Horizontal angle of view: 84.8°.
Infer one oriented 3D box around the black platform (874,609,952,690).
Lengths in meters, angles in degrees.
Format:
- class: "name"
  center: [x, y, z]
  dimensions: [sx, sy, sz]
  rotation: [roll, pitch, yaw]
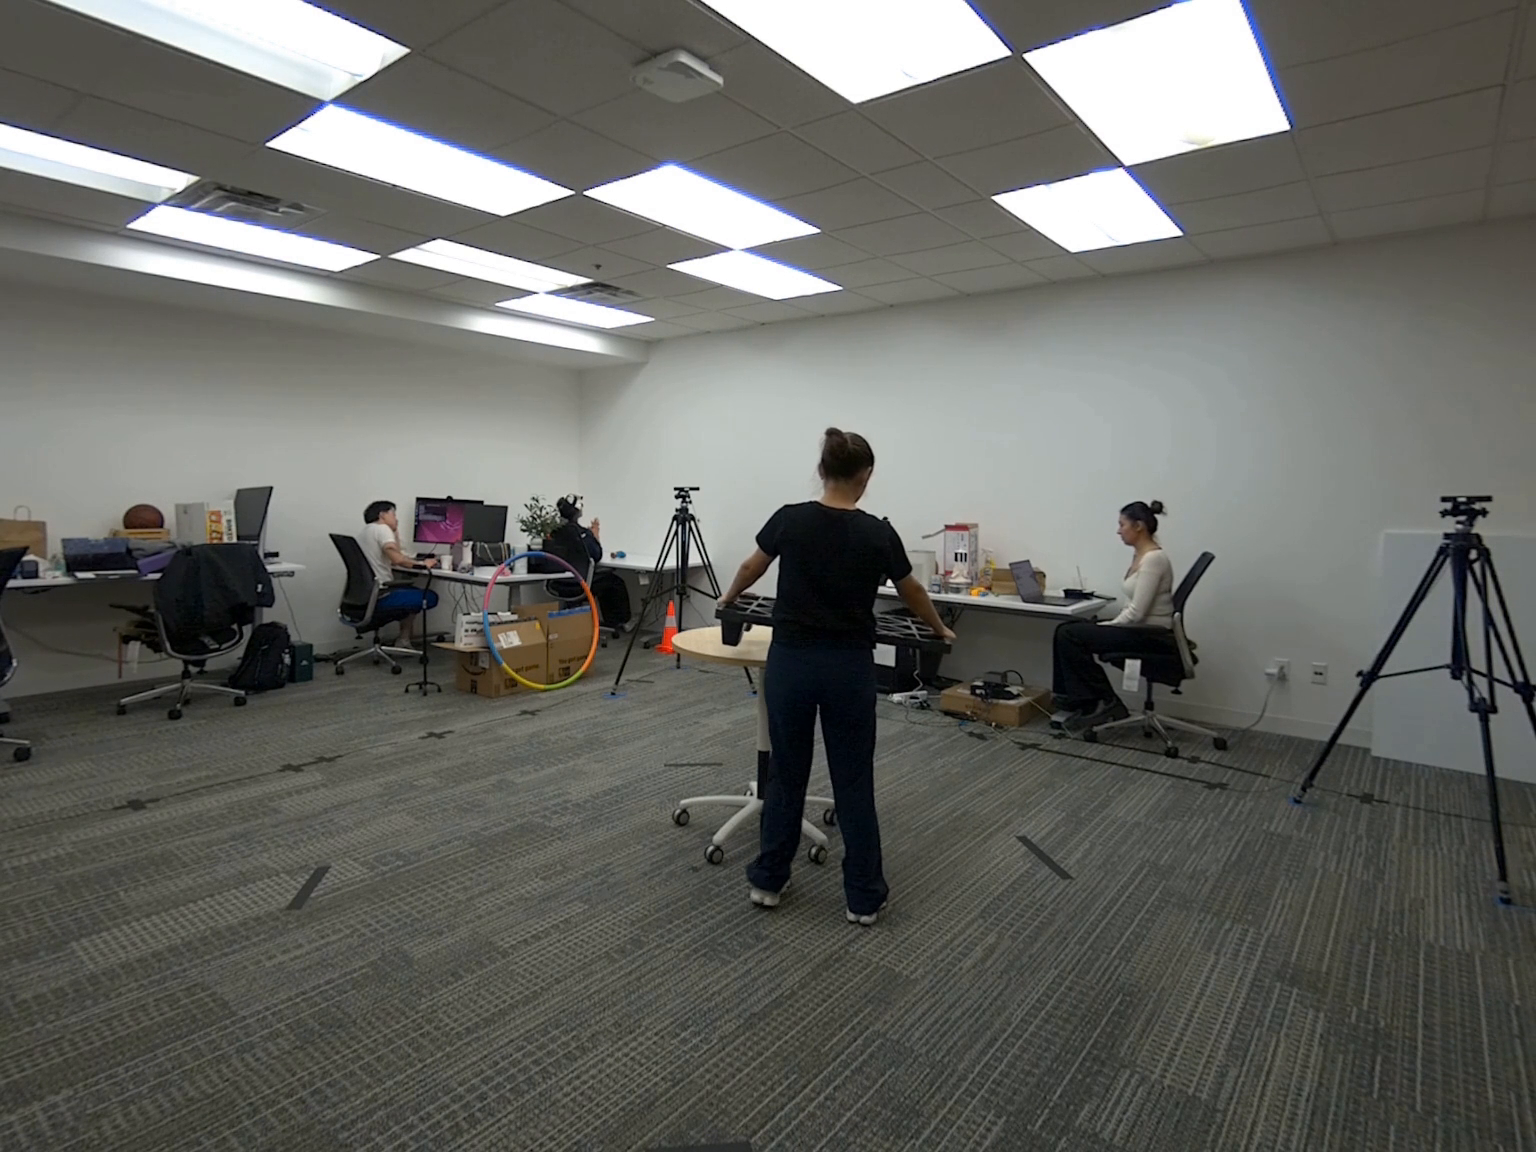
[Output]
- class: "black platform"
  center: [0.257, 0.199, 3.150]
  dimensions: [0.814, 0.143, 0.602]
  rotation: [7, 6, 8]
